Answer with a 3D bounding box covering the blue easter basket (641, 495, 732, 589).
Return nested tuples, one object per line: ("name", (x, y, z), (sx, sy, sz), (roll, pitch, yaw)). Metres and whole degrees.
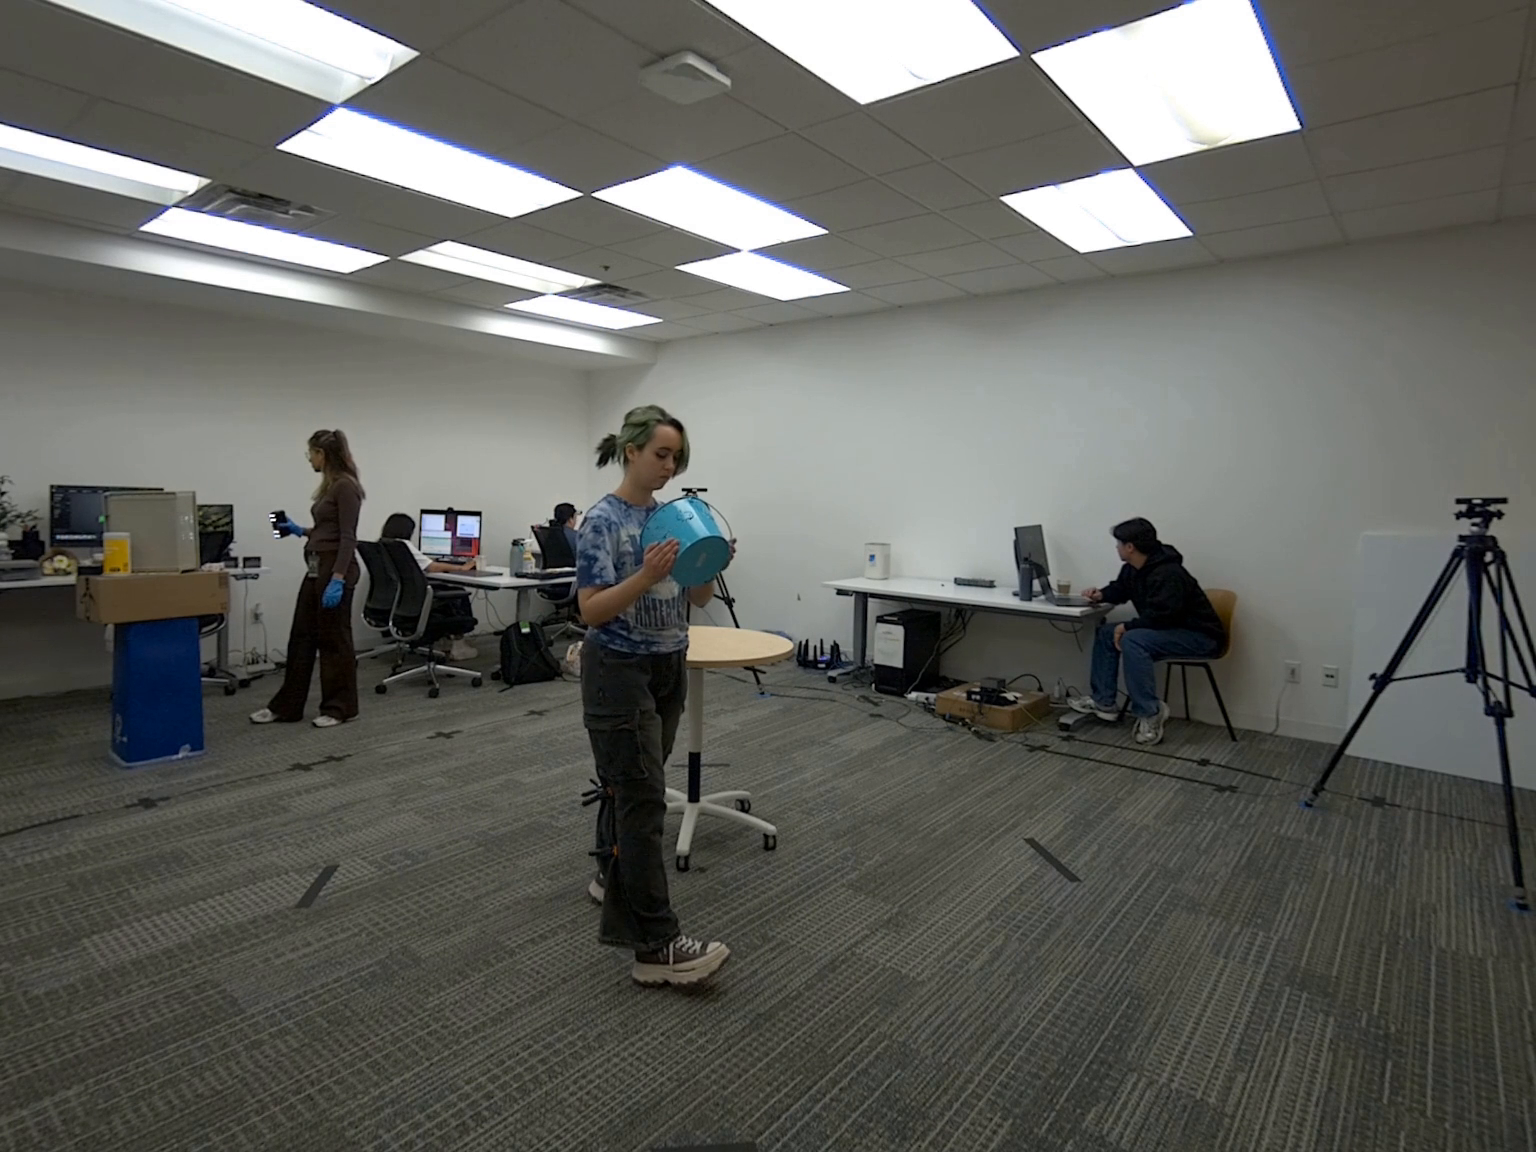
("blue easter basket", (-0.231, -0.094, 2.401), (0.236, 0.241, 0.162), (-3, 40, -40))
